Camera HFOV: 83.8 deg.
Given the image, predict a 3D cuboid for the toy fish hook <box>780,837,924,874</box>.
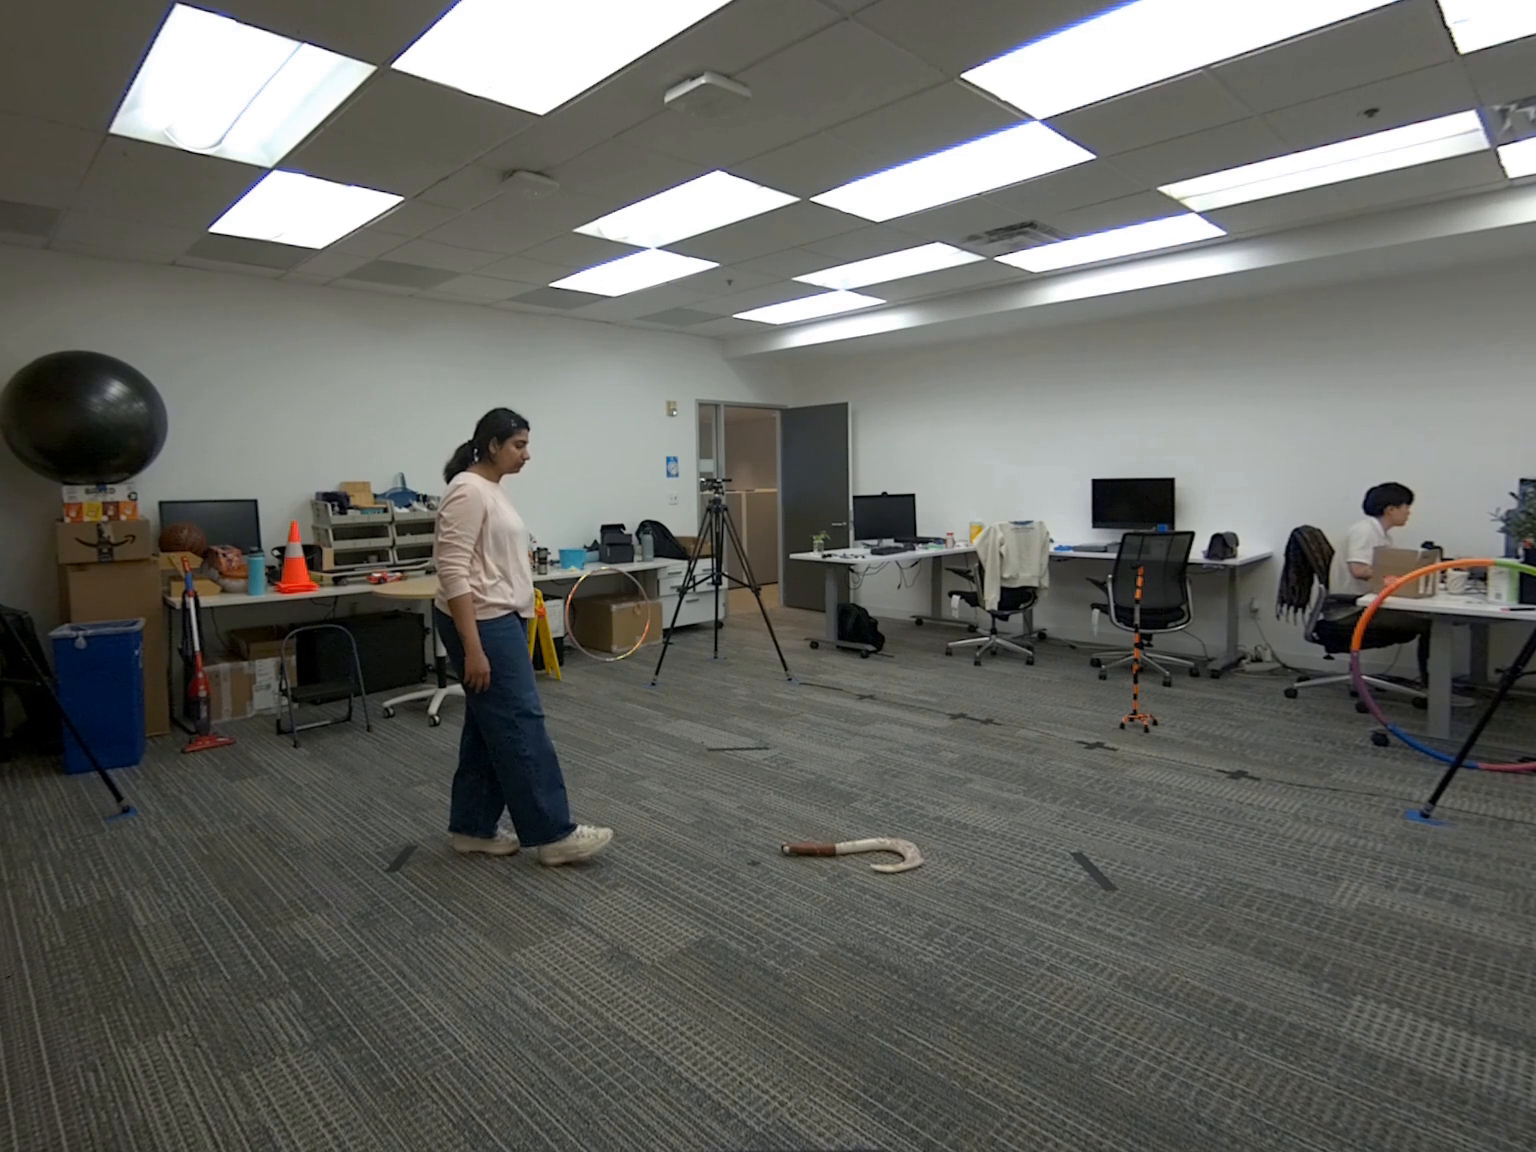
[{"bbox_3d":[0.304,1.007,3.107,0.507,0.048,0.225,-1,5,0],"label":"toy fish hook"}]
